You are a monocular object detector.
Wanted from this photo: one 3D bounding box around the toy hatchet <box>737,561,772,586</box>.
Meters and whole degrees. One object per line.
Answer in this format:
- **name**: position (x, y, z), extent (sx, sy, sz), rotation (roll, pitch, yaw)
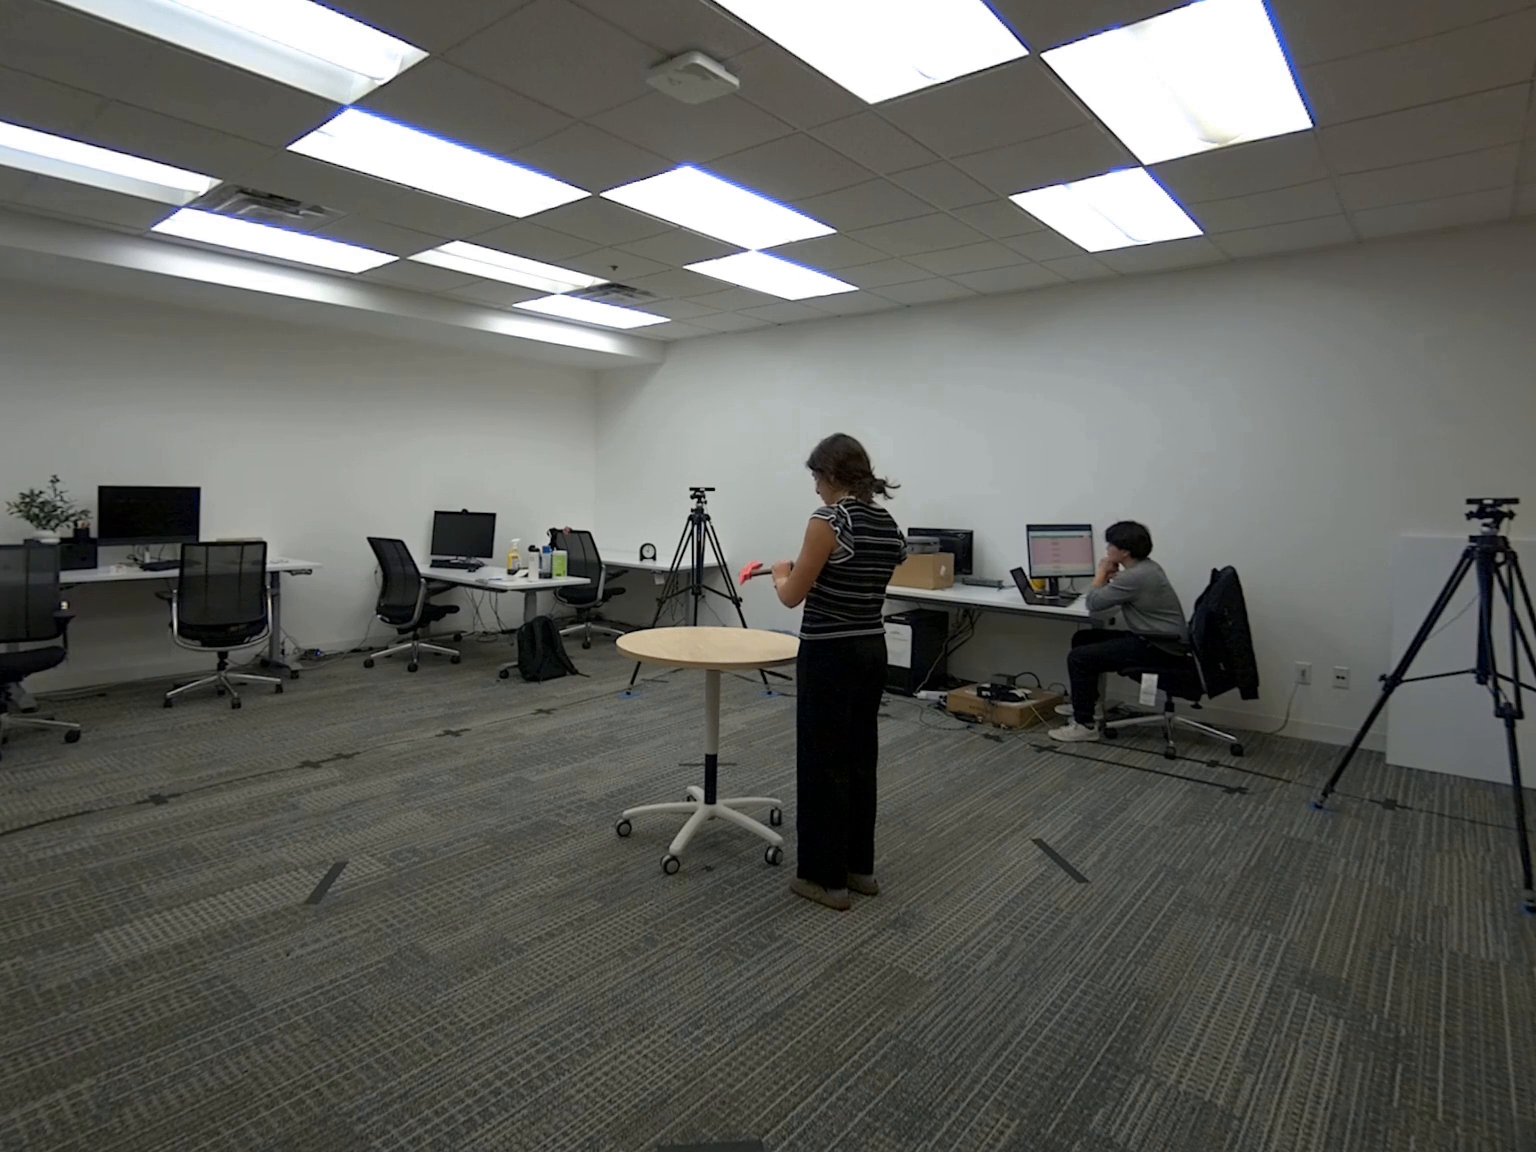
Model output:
- **toy hatchet**: position (0.018, -0.030, 3.137), extent (0.272, 0.029, 0.134), rotation (-15, 27, 11)
